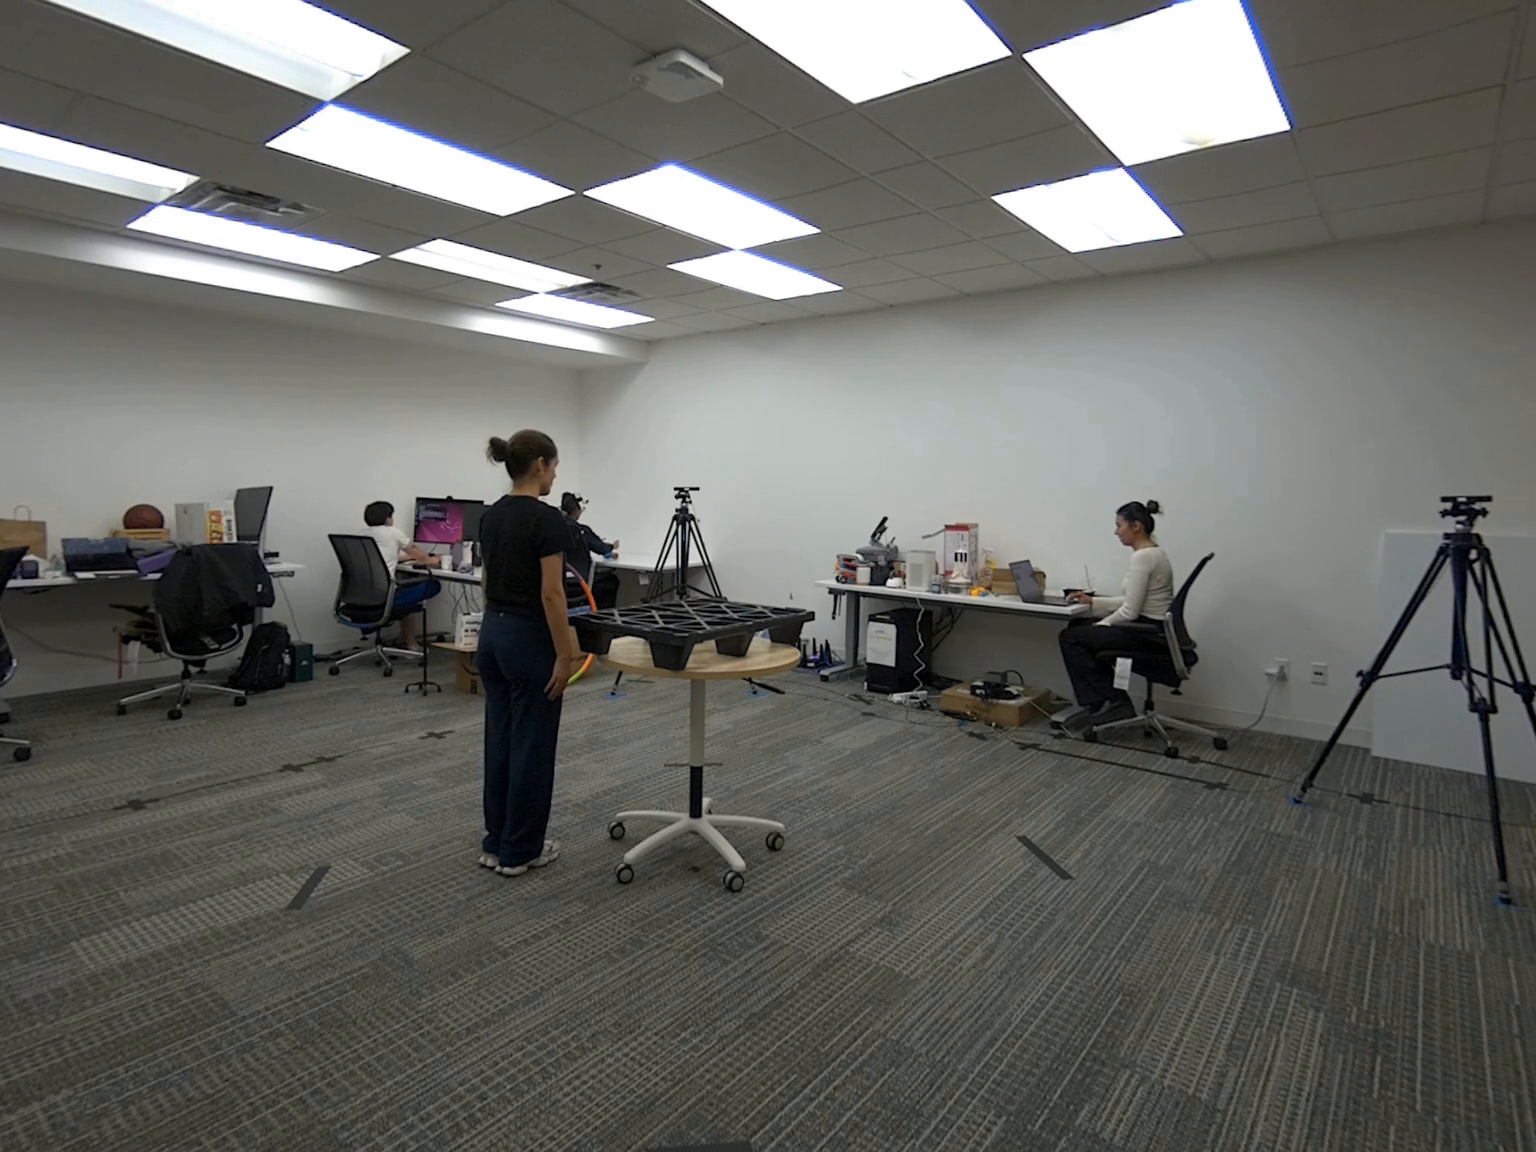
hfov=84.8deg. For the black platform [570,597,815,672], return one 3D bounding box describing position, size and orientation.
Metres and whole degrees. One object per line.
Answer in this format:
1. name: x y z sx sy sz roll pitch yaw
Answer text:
1. black platform: -0.276 0.208 3.255 0.625 0.143 0.782 6 7 38
